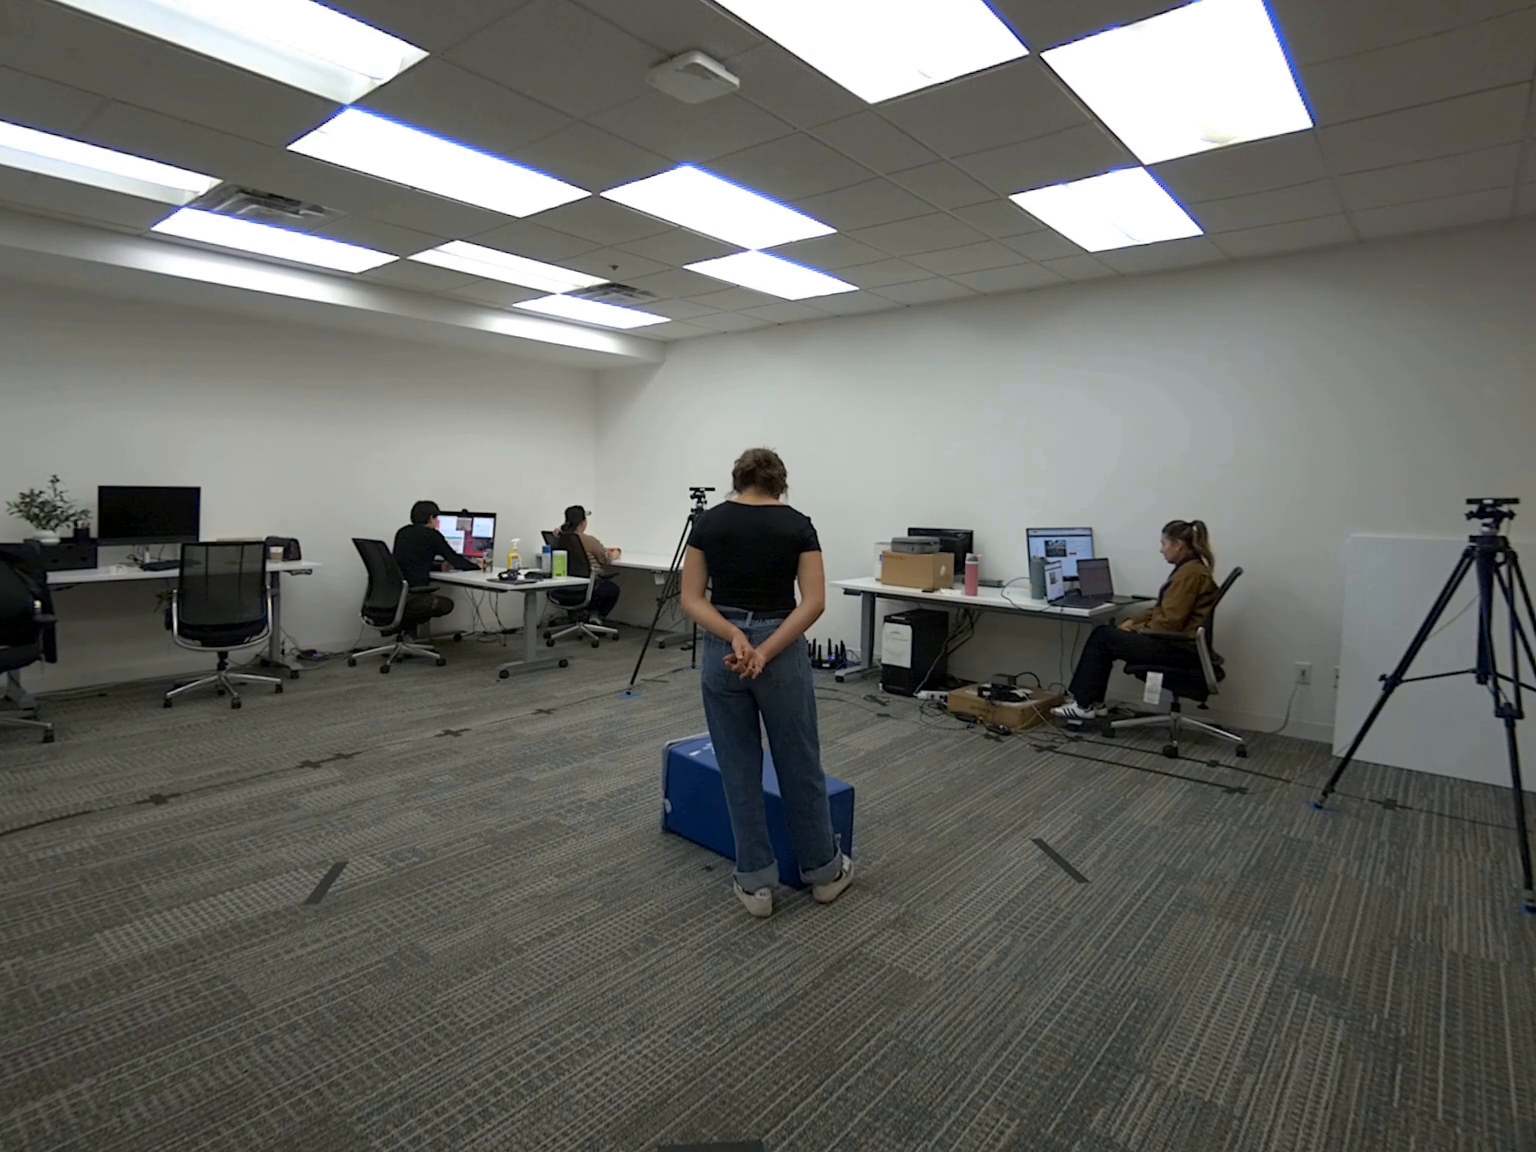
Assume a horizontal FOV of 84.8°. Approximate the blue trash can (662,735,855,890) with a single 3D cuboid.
[{"bbox_3d":[-0.061,0.883,3.288,0.739,0.376,0.363,10,9,43],"label":"blue trash can"}]
